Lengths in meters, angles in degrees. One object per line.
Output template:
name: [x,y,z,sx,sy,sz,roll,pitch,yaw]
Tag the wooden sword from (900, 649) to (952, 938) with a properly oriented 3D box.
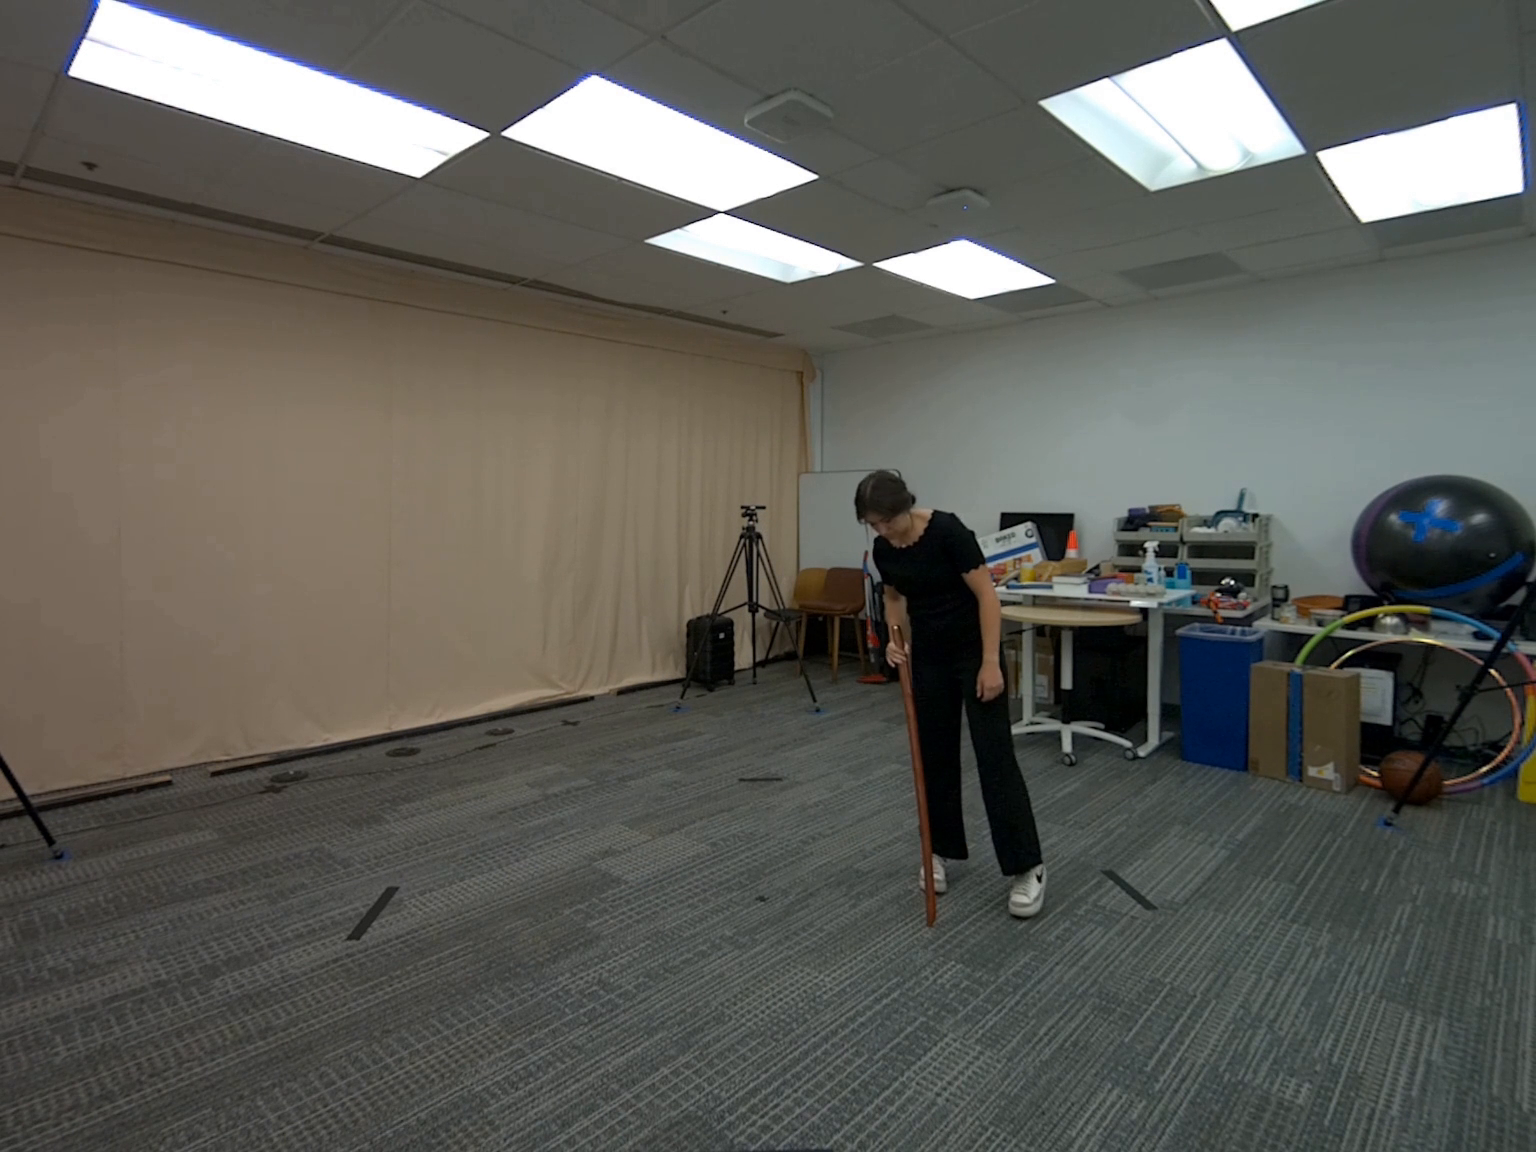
wooden sword: [0.535,0.691,2.946,0.052,1.039,0.023,-7,-21,8]
